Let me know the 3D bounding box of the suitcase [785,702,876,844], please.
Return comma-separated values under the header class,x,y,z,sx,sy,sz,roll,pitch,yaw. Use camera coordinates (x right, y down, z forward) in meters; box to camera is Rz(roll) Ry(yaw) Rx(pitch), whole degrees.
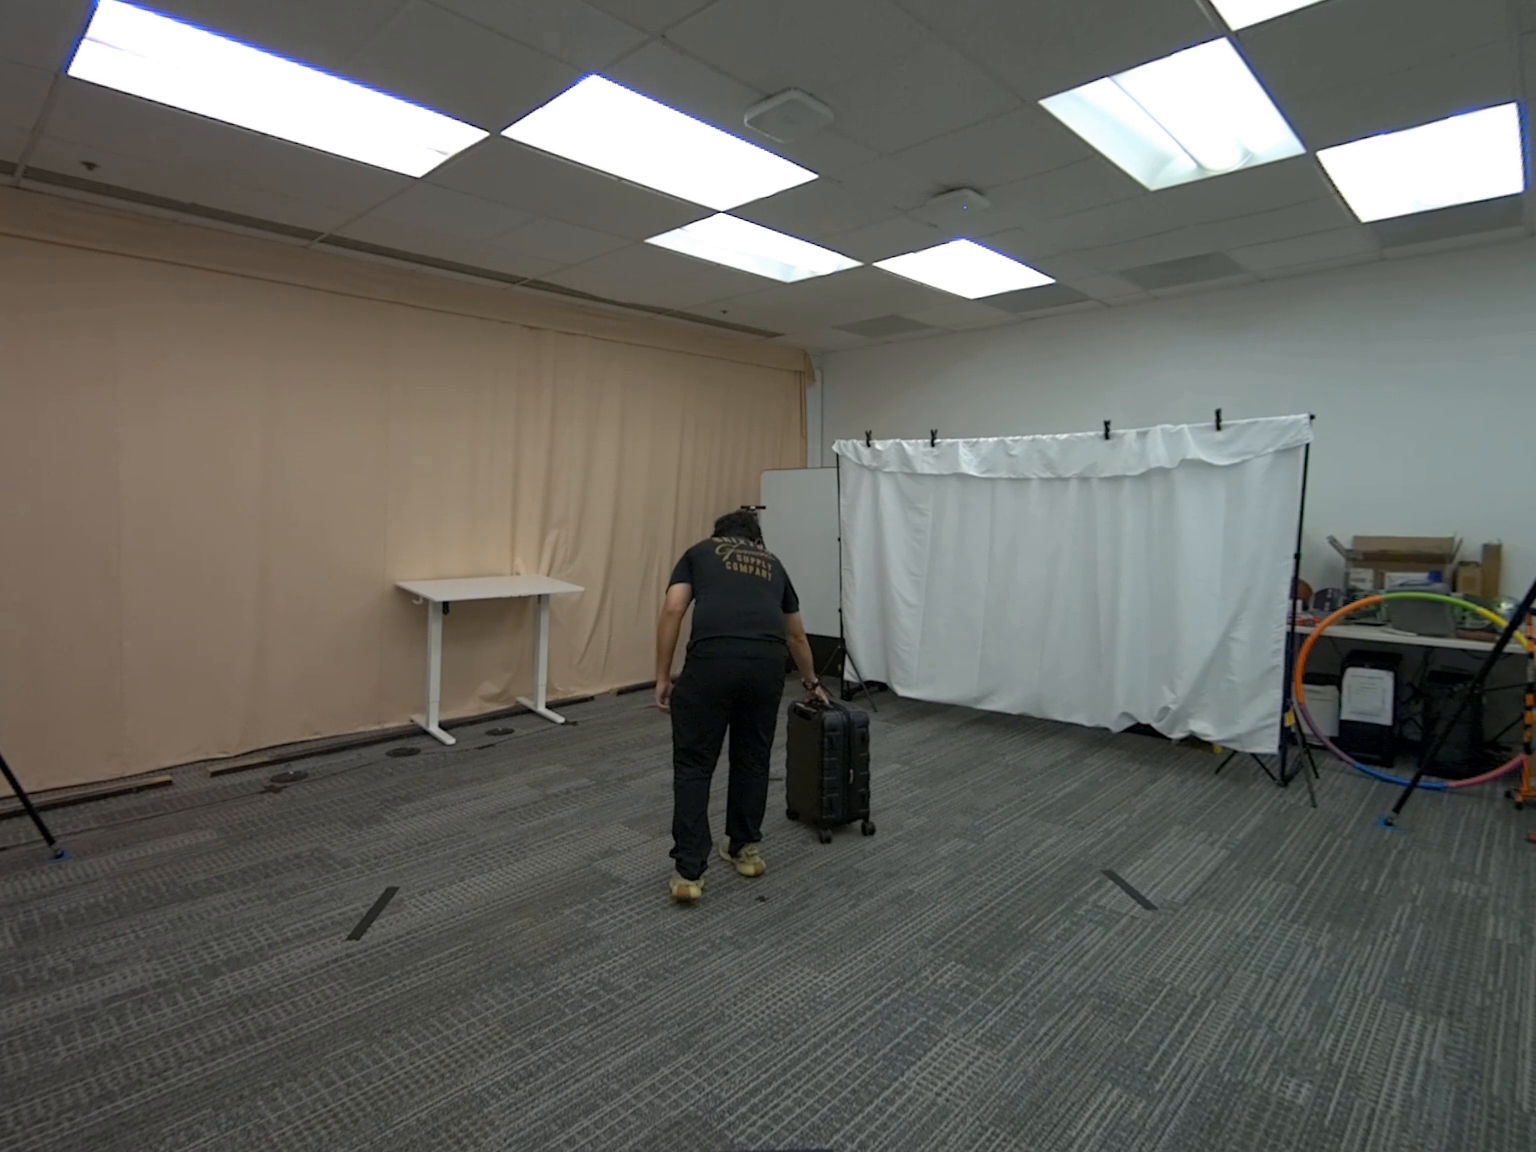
class,x,y,z,sx,sy,sz,roll,pitch,yaw
suitcase,0.258,0.812,3.657,0.242,0.548,0.385,-2,3,-25
